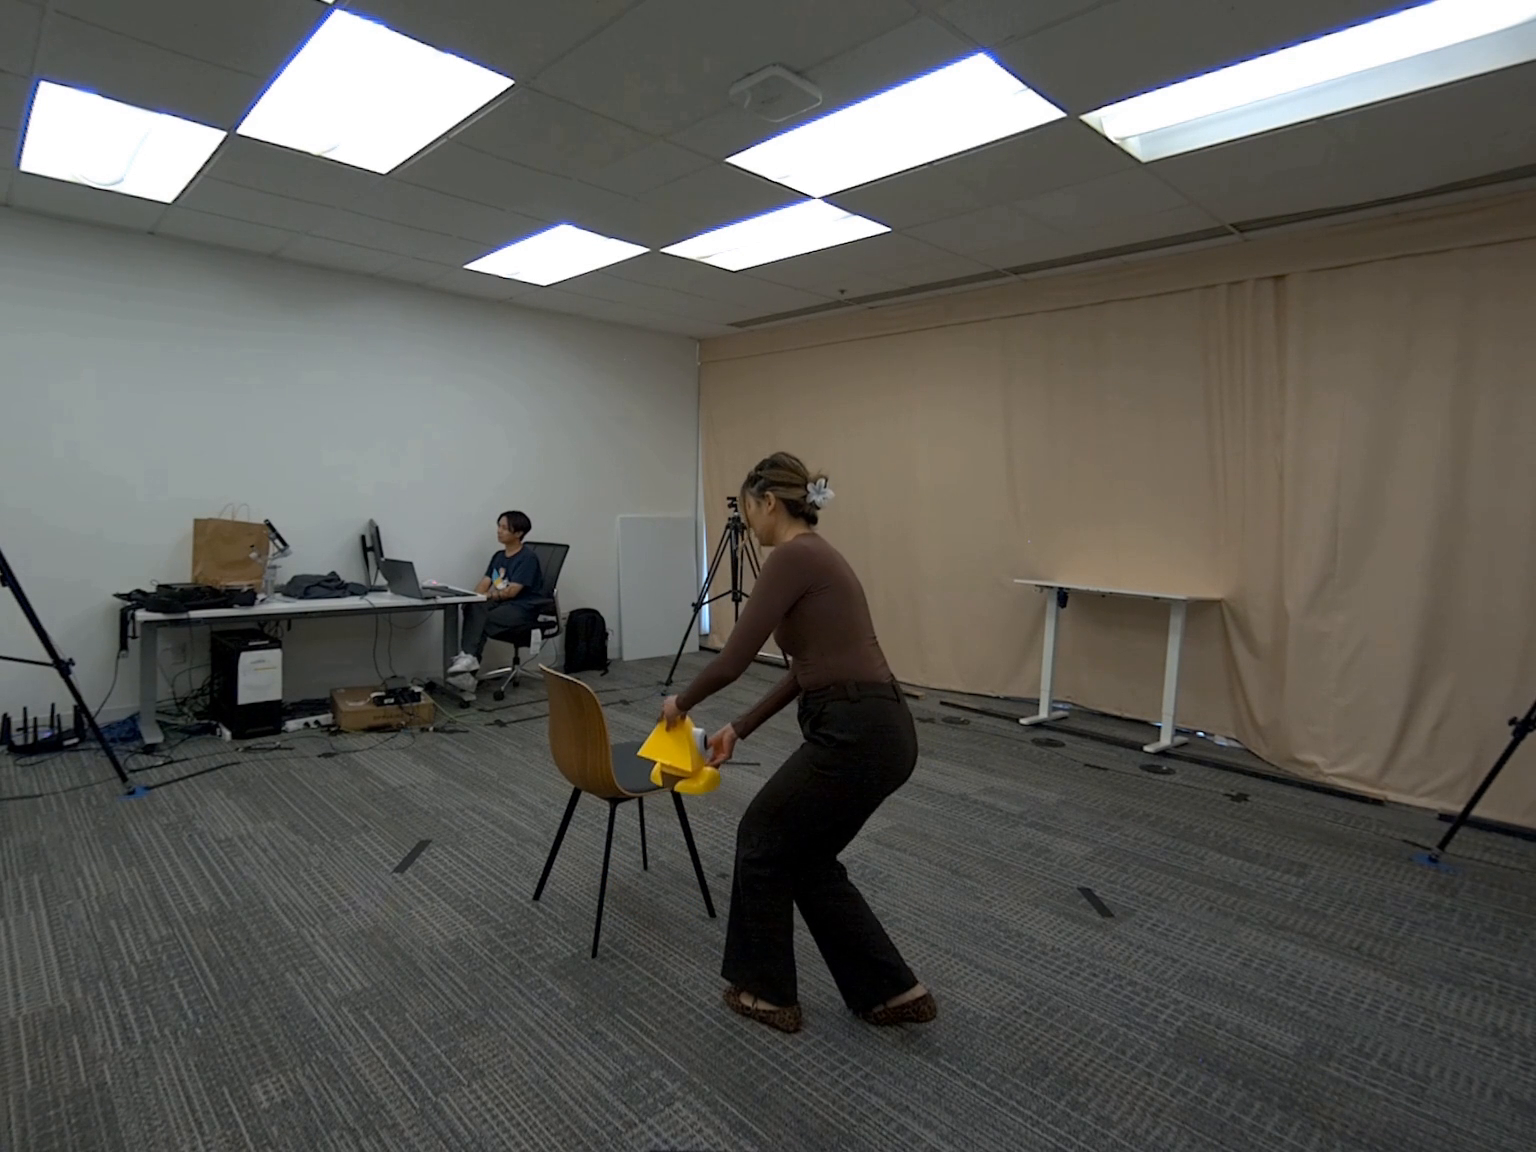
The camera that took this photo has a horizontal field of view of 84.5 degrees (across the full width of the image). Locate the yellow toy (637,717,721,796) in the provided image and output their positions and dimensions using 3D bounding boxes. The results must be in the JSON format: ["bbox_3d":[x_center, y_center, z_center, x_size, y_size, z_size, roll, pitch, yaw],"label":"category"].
[{"bbox_3d":[-0.242,0.482,2.409,0.210,0.230,0.189,7,7,36],"label":"yellow toy"}]
